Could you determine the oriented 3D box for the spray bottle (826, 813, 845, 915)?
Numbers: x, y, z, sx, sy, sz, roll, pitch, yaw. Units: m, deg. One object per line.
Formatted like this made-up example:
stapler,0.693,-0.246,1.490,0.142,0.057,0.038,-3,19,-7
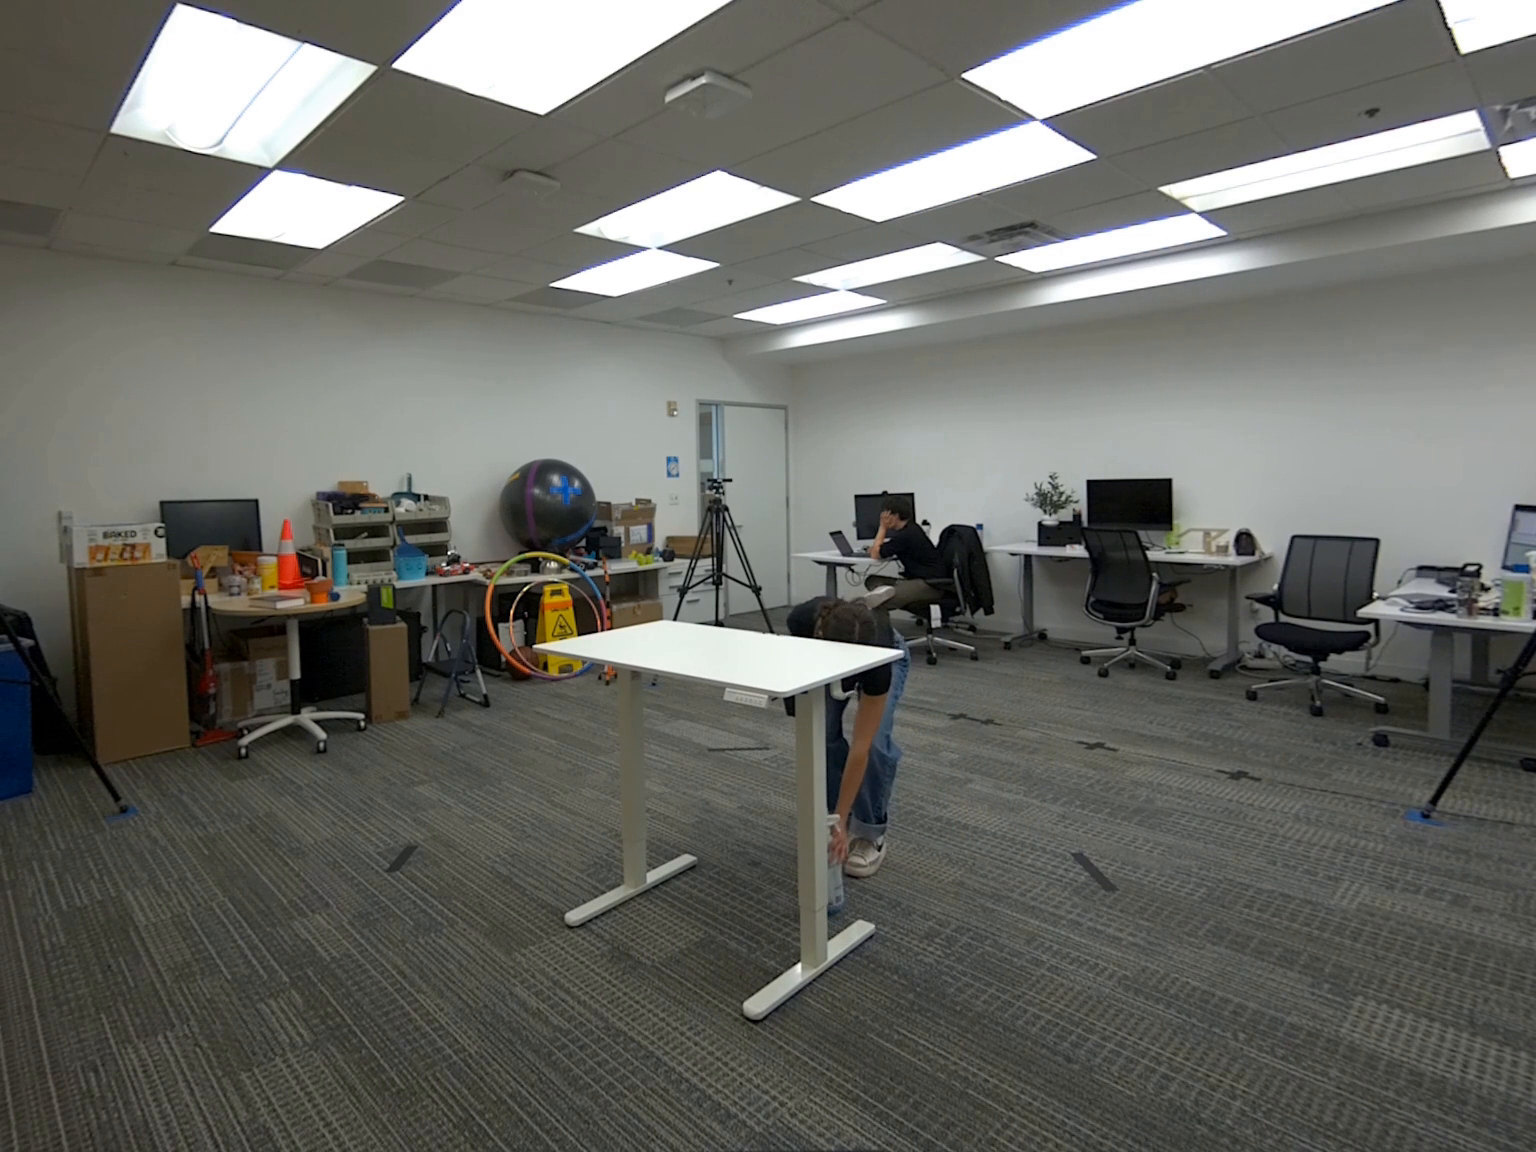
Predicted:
spray bottle,0.202,0.909,2.727,0.092,0.296,0.085,-3,5,34
